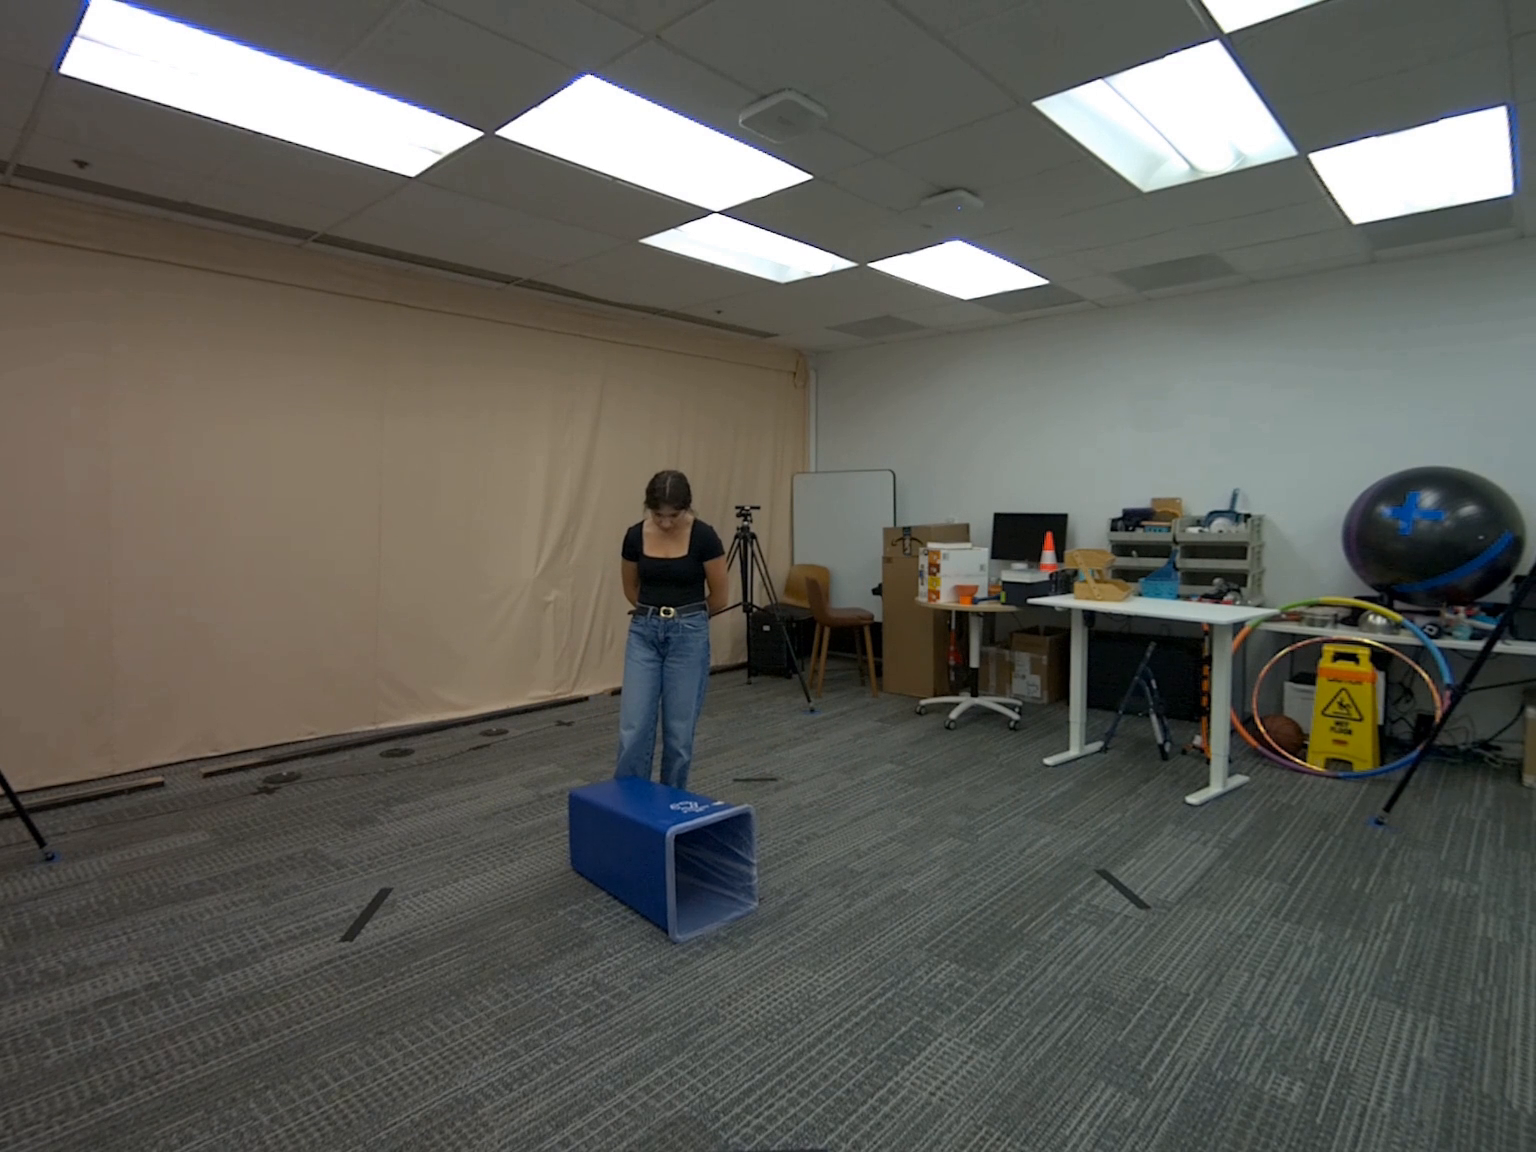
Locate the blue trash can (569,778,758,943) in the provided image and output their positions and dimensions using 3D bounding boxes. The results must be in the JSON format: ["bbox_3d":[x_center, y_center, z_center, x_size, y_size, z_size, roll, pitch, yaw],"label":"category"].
[{"bbox_3d":[-0.410,0.975,3.045,0.363,0.378,0.736,-4,3,-42],"label":"blue trash can"}]
